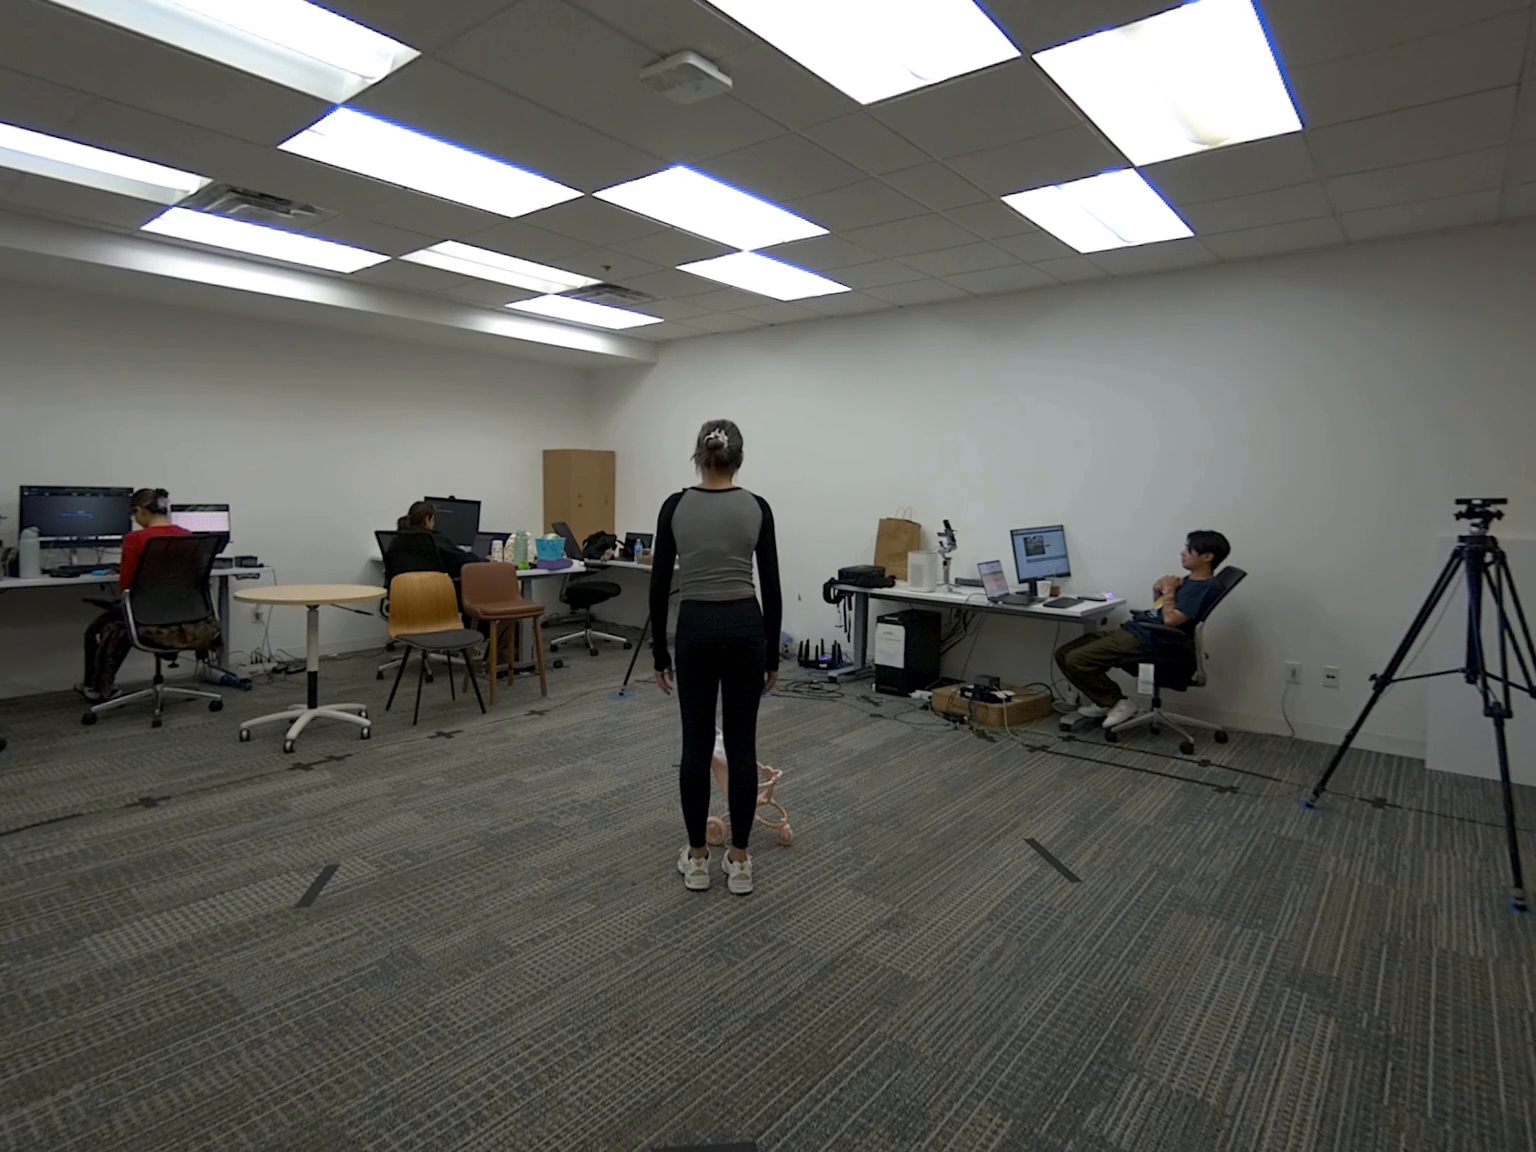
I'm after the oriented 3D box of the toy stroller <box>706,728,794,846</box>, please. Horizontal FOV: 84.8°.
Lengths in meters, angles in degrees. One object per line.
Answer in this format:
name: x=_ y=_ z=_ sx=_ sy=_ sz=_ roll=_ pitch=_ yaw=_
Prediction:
toy stroller: x=-0.112 y=0.817 z=3.403 sx=0.348 sy=0.537 sz=0.275 roll=-14 pitch=-3 yaw=26
